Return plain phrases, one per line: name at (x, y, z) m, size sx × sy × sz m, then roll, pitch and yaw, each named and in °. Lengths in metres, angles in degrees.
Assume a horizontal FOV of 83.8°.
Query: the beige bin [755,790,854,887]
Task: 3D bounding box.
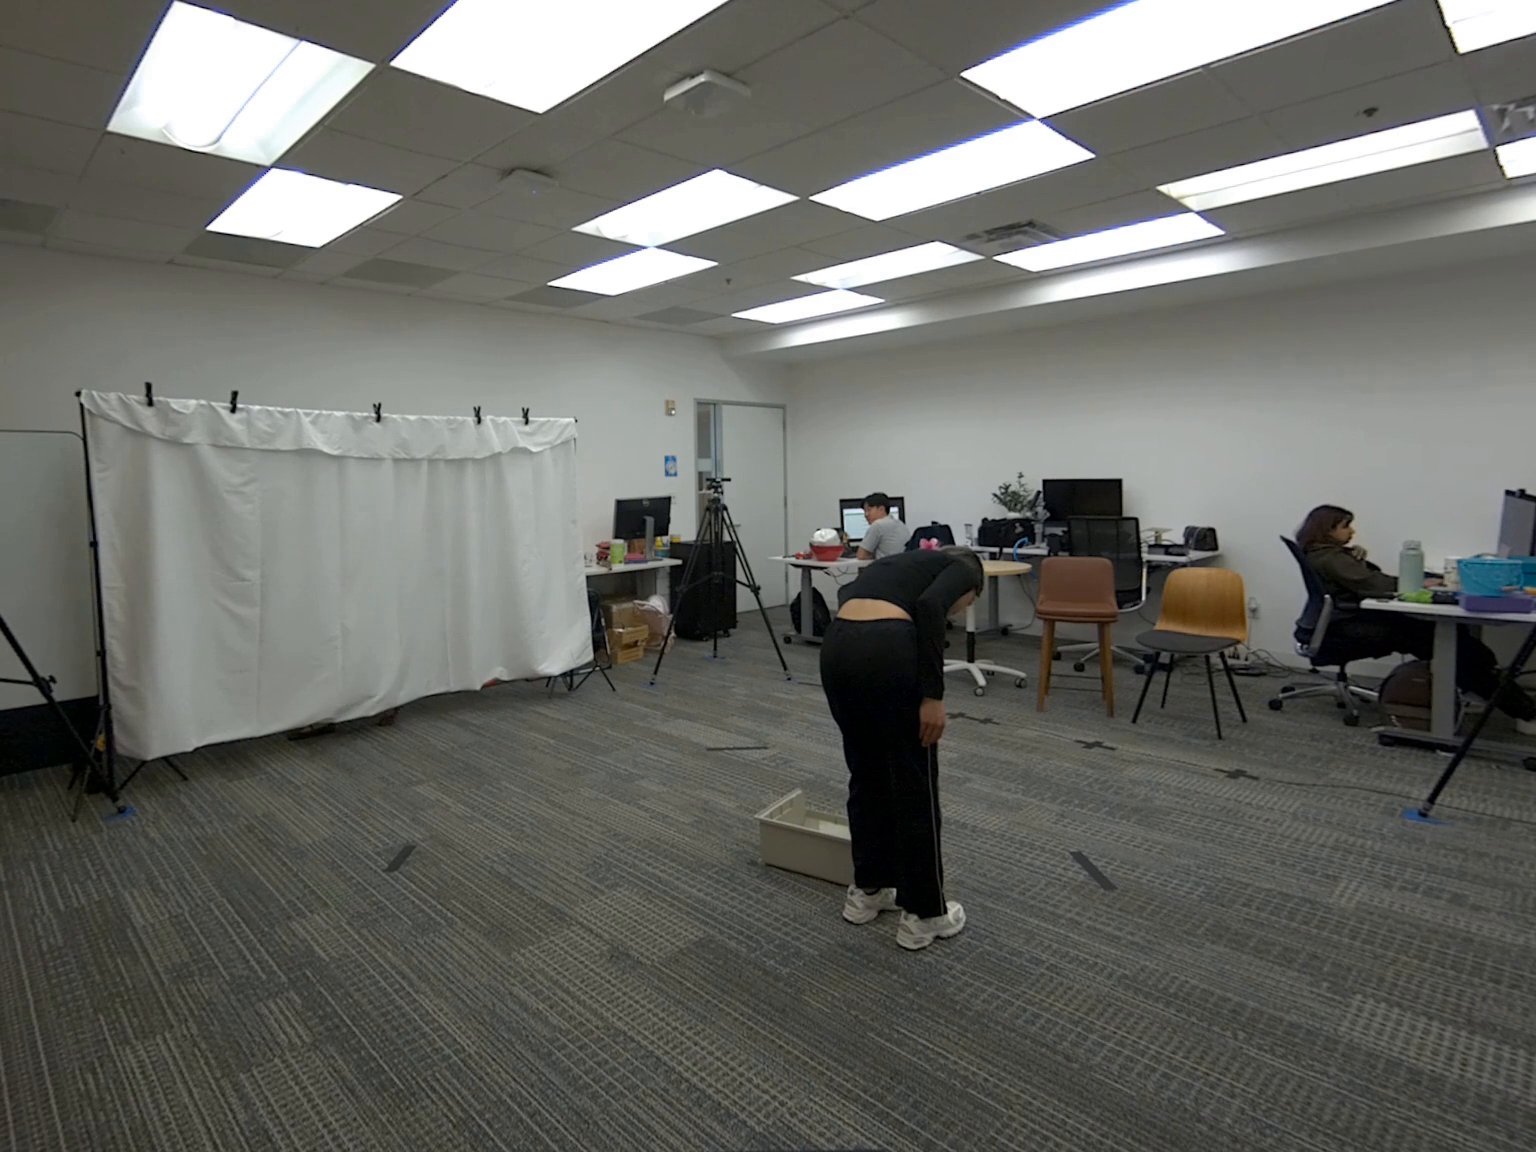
beige bin at (0.227, 0.950, 3.121) m, size 0.434 × 0.188 × 0.369 m, roll 4°, pitch 8°, yaw 32°
